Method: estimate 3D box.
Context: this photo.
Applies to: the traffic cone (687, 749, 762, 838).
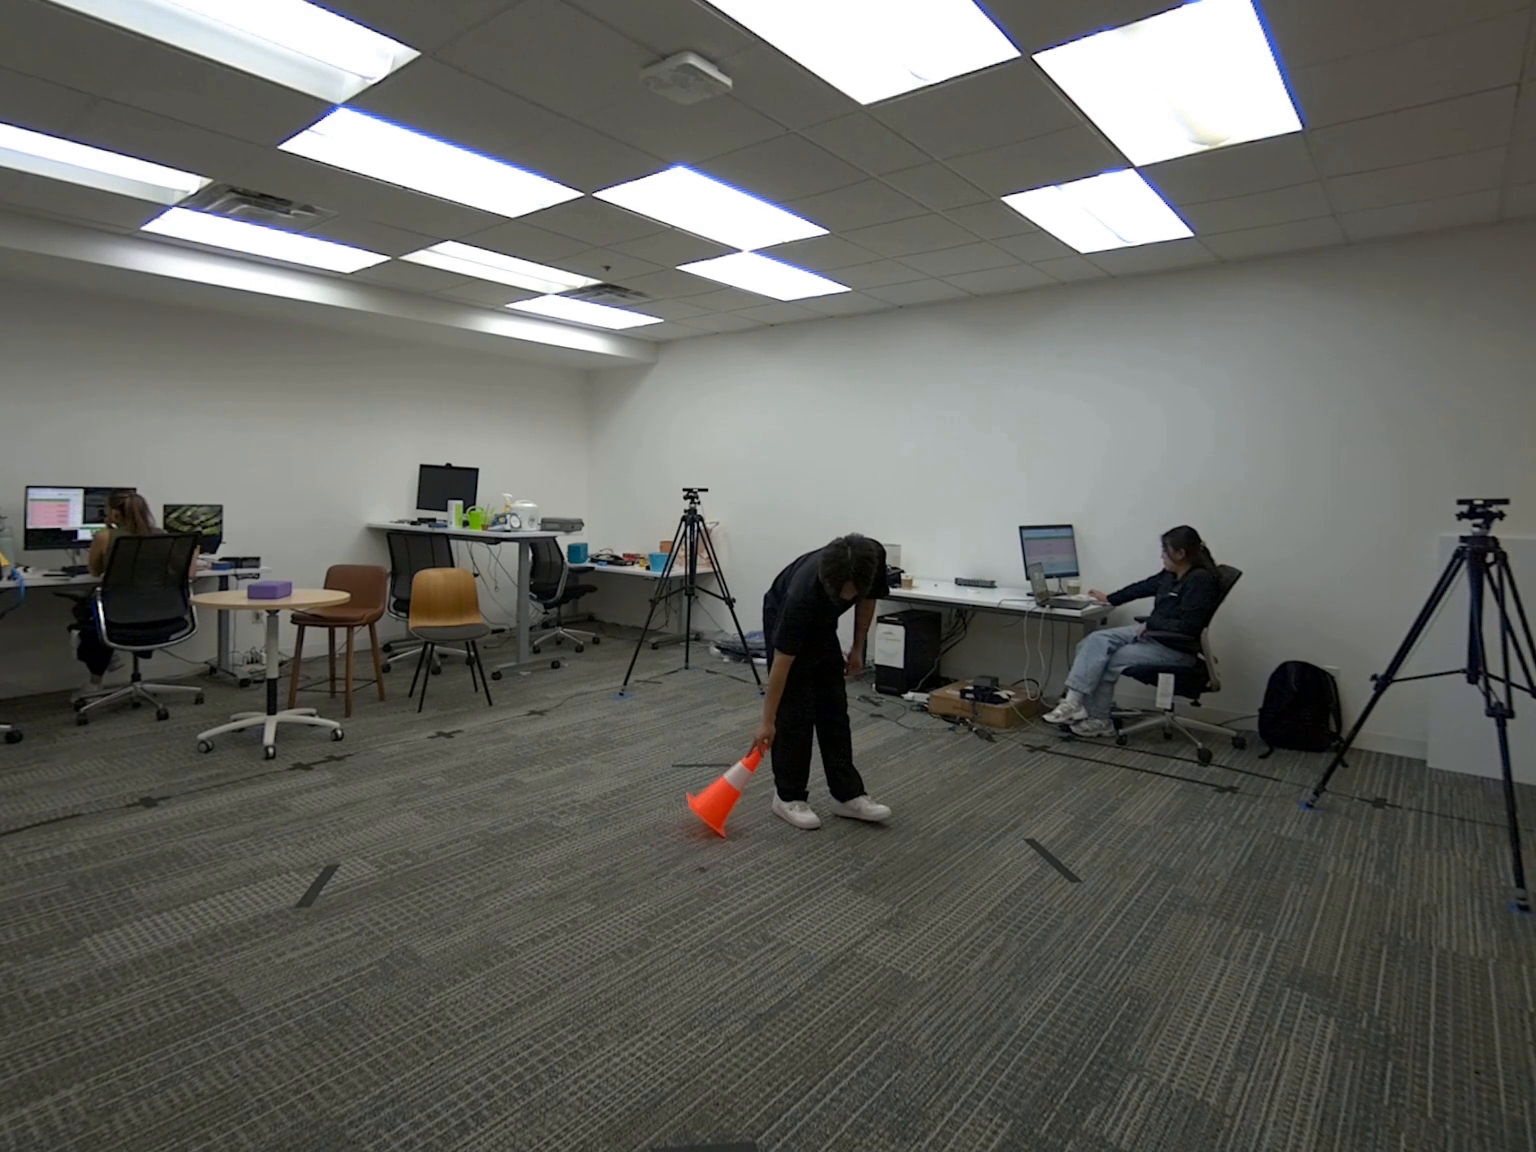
[{"bbox_3d":[-0.146,0.828,3.483,0.203,0.384,0.205,40,-1,-7],"label":"traffic cone"}]
